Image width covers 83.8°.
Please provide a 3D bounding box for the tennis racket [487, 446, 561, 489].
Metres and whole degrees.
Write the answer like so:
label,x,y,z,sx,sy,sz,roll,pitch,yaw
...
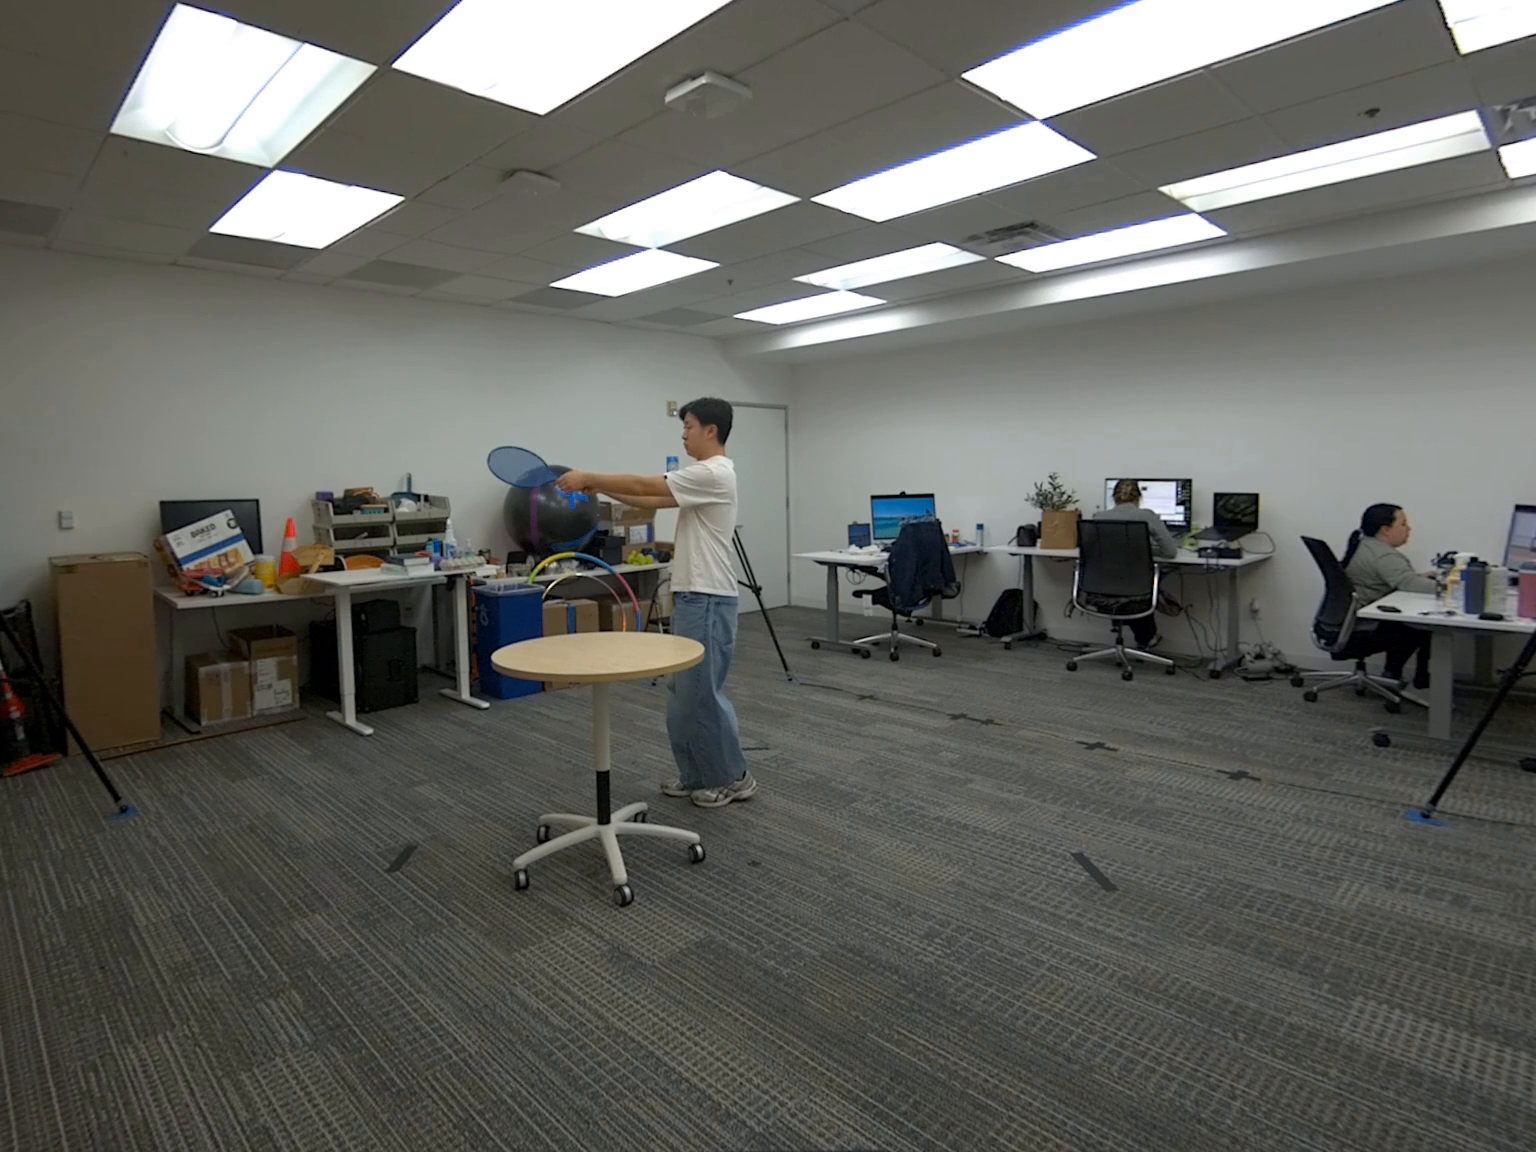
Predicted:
label,x,y,z,sx,sy,sz,roll,pitch,yaw
tennis racket,-0.985,-0.446,3.644,0.422,0.220,0.032,13,-39,-24
